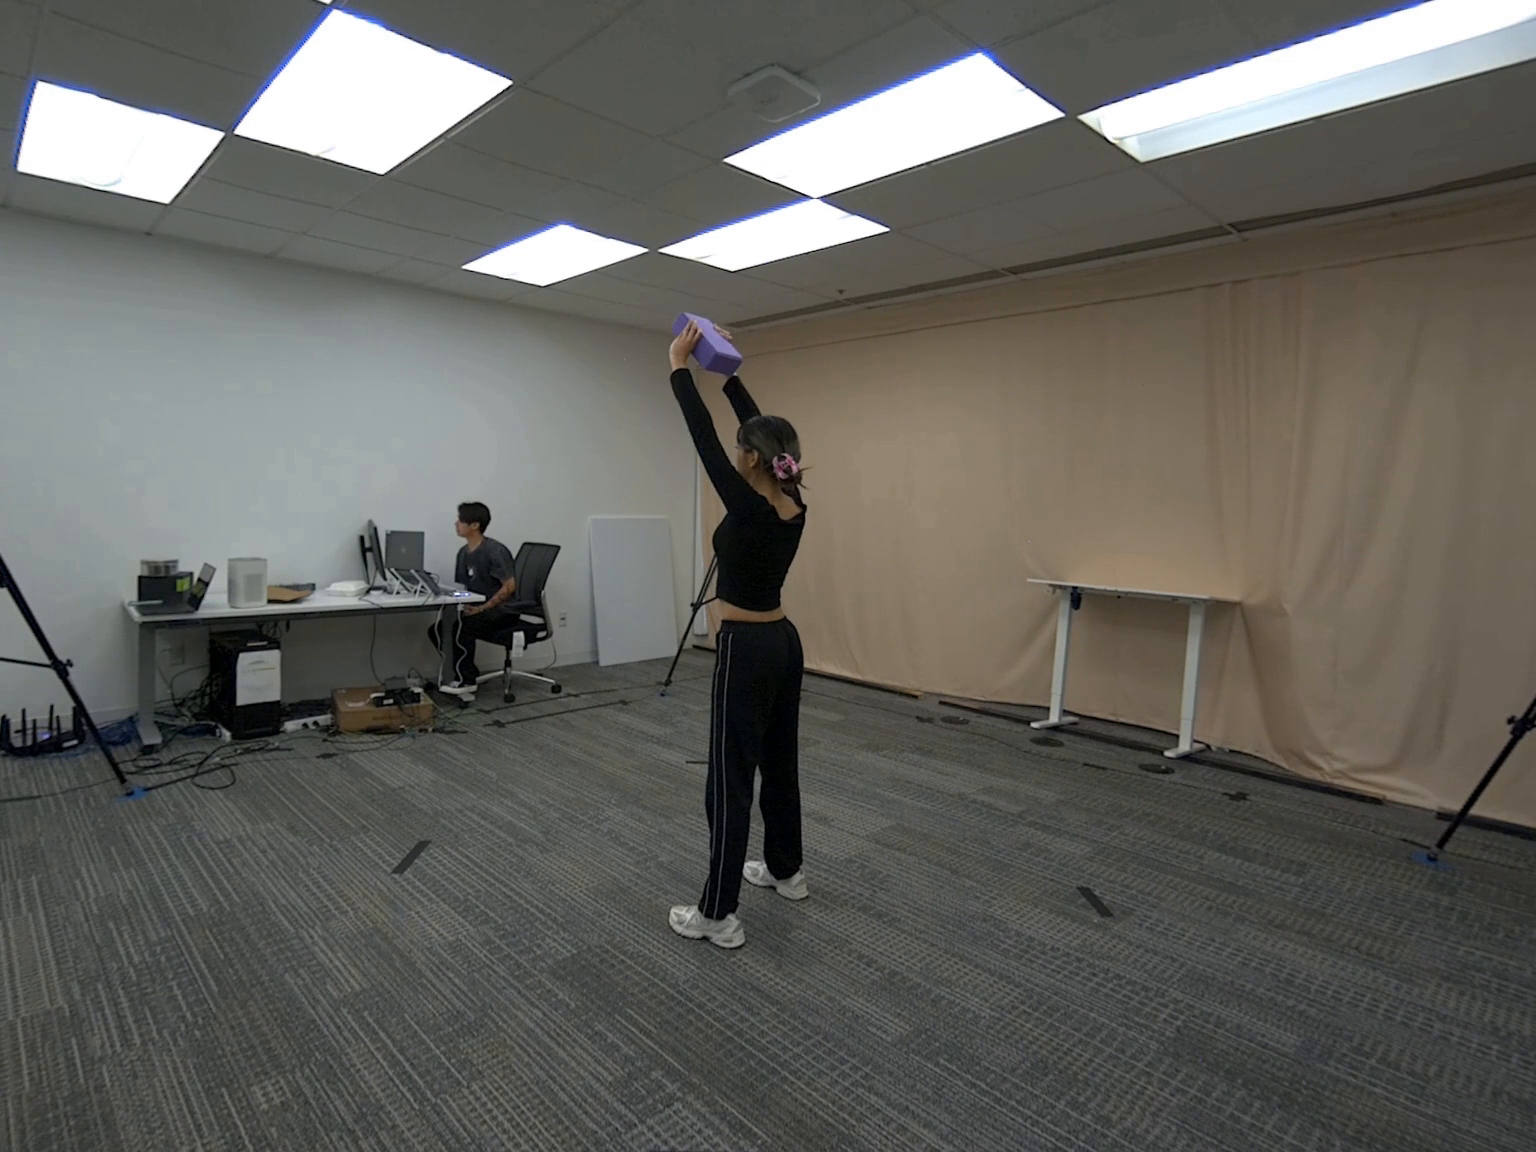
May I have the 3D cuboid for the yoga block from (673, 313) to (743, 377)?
[{"bbox_3d":[-0.214,-0.776,2.820,0.145,0.076,0.235,-2,47,-53],"label":"yoga block"}]
